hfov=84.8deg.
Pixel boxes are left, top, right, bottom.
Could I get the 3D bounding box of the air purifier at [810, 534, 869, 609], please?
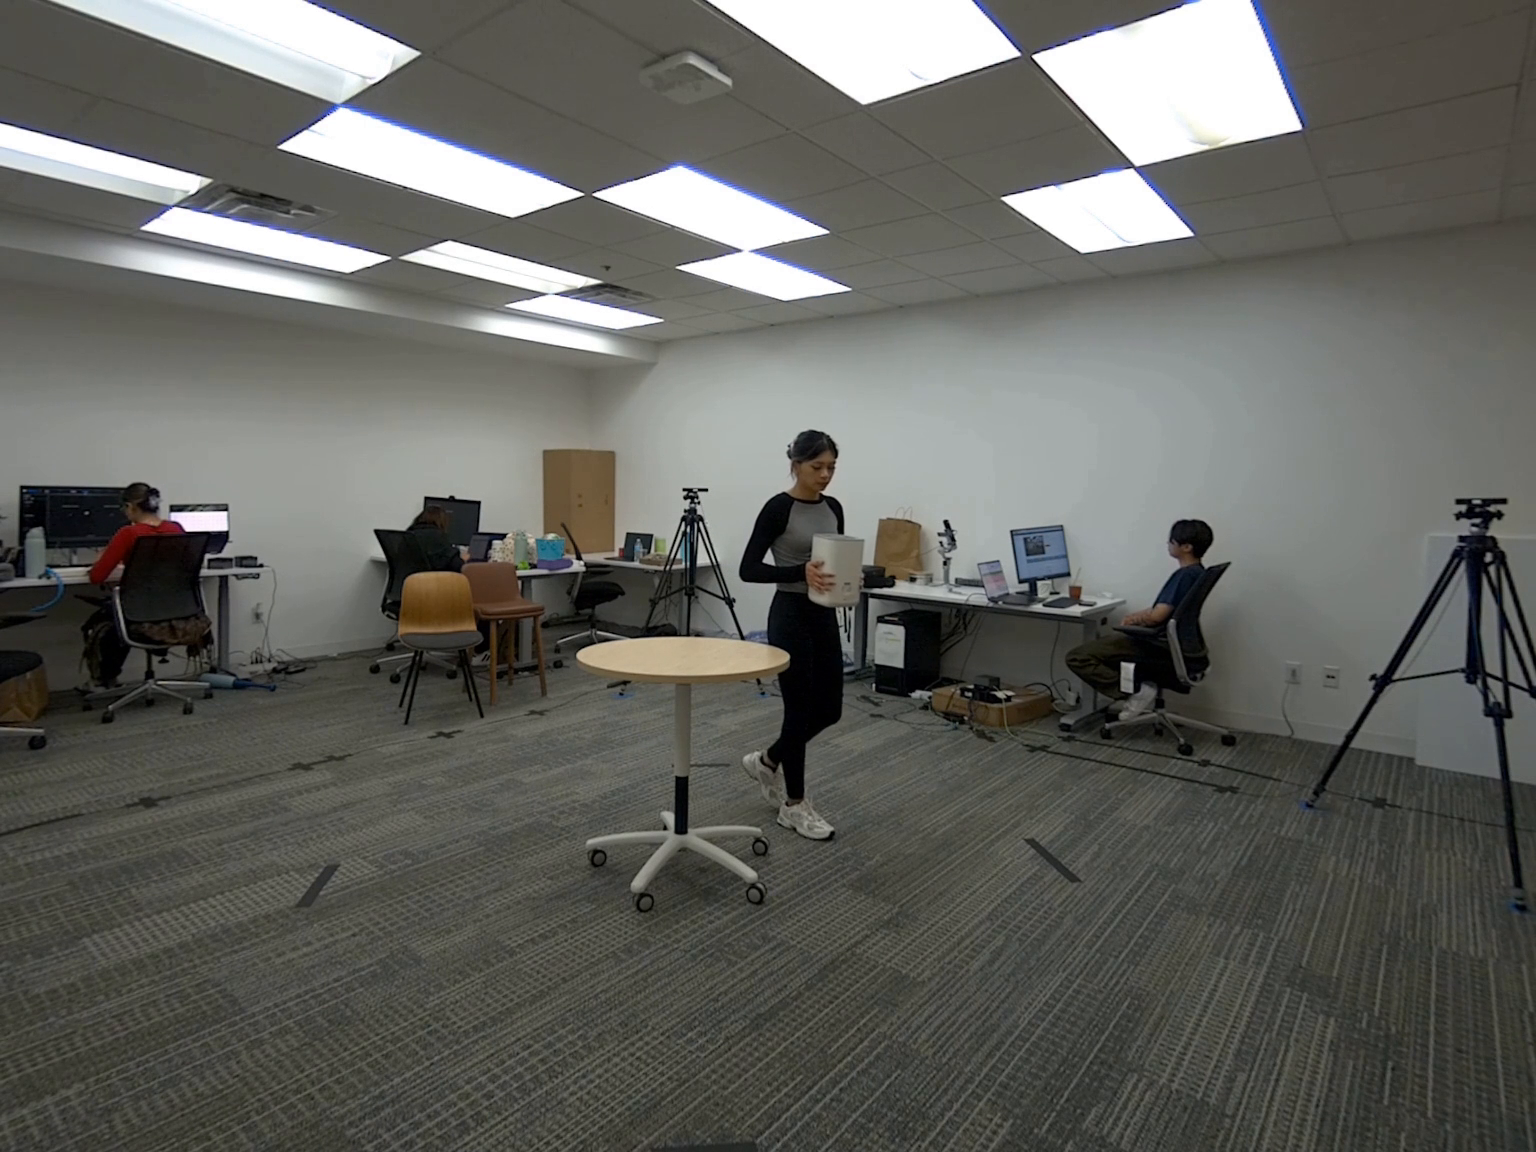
[{"bbox_3d":[0.257,-0.024,3.287,0.167,0.264,0.176,3,6,-24],"label":"air purifier"}]
